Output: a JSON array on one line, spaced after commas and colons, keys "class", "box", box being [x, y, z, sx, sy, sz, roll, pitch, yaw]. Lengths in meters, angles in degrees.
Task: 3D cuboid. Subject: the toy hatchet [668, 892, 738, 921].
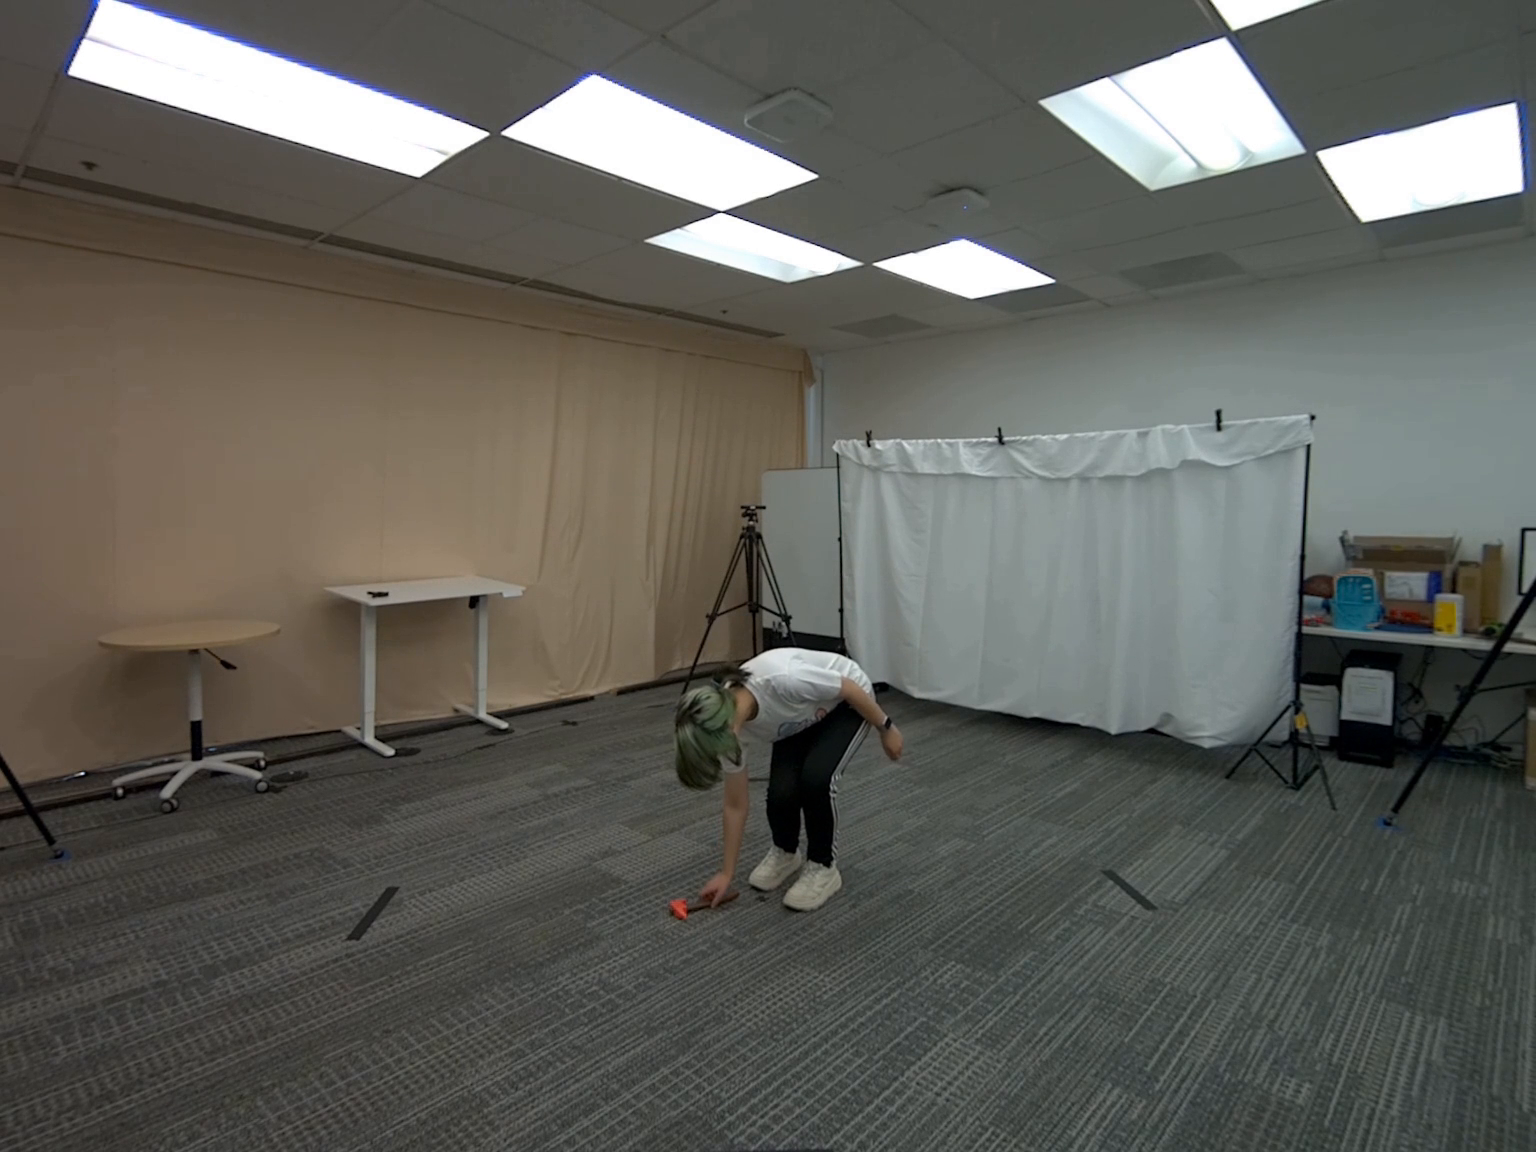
[{"class": "toy hatchet", "box": [-0.238, 1.141, 2.950, 0.135, 0.029, 0.261, 1, 2, 43]}]
